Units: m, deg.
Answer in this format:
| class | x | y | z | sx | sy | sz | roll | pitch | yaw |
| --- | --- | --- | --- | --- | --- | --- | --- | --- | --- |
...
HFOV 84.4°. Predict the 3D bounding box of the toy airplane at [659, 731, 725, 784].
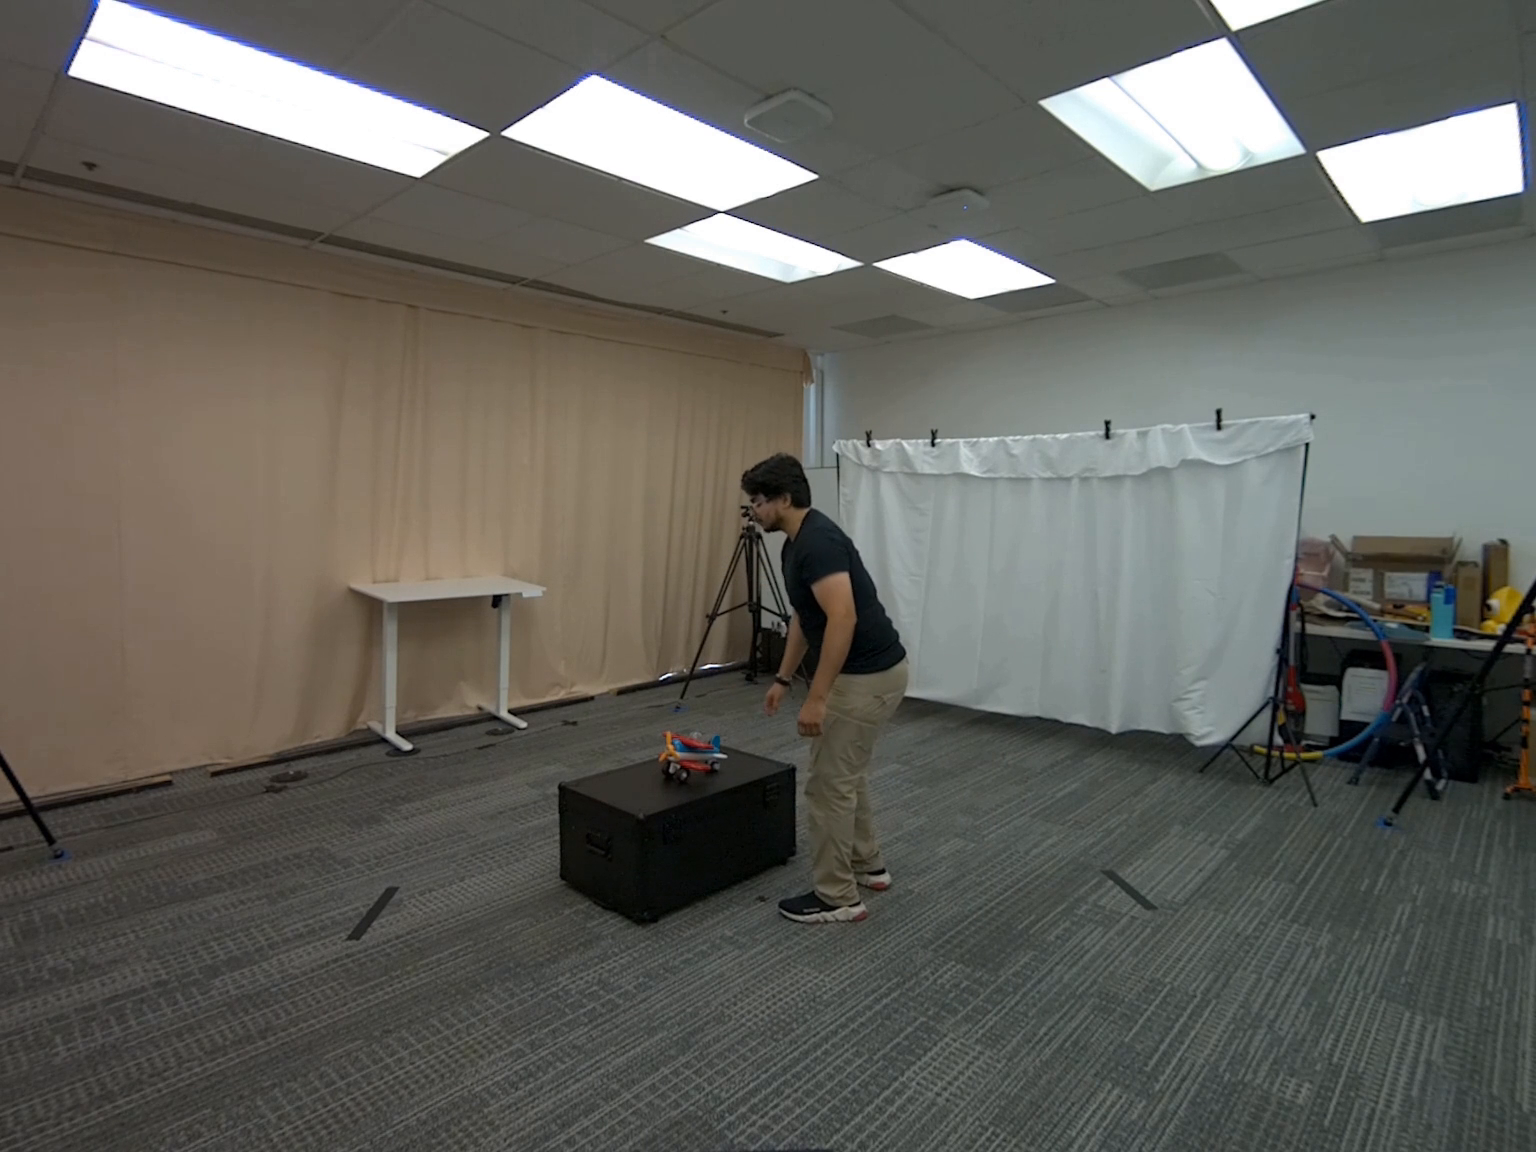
| class | x | y | z | sx | sy | sz | roll | pitch | yaw |
| --- | --- | --- | --- | --- | --- | --- | --- | --- | --- |
| toy airplane | -0.292 | 0.677 | 3.202 | 0.256 | 0.156 | 0.255 | 1 | 6 | 19 |
